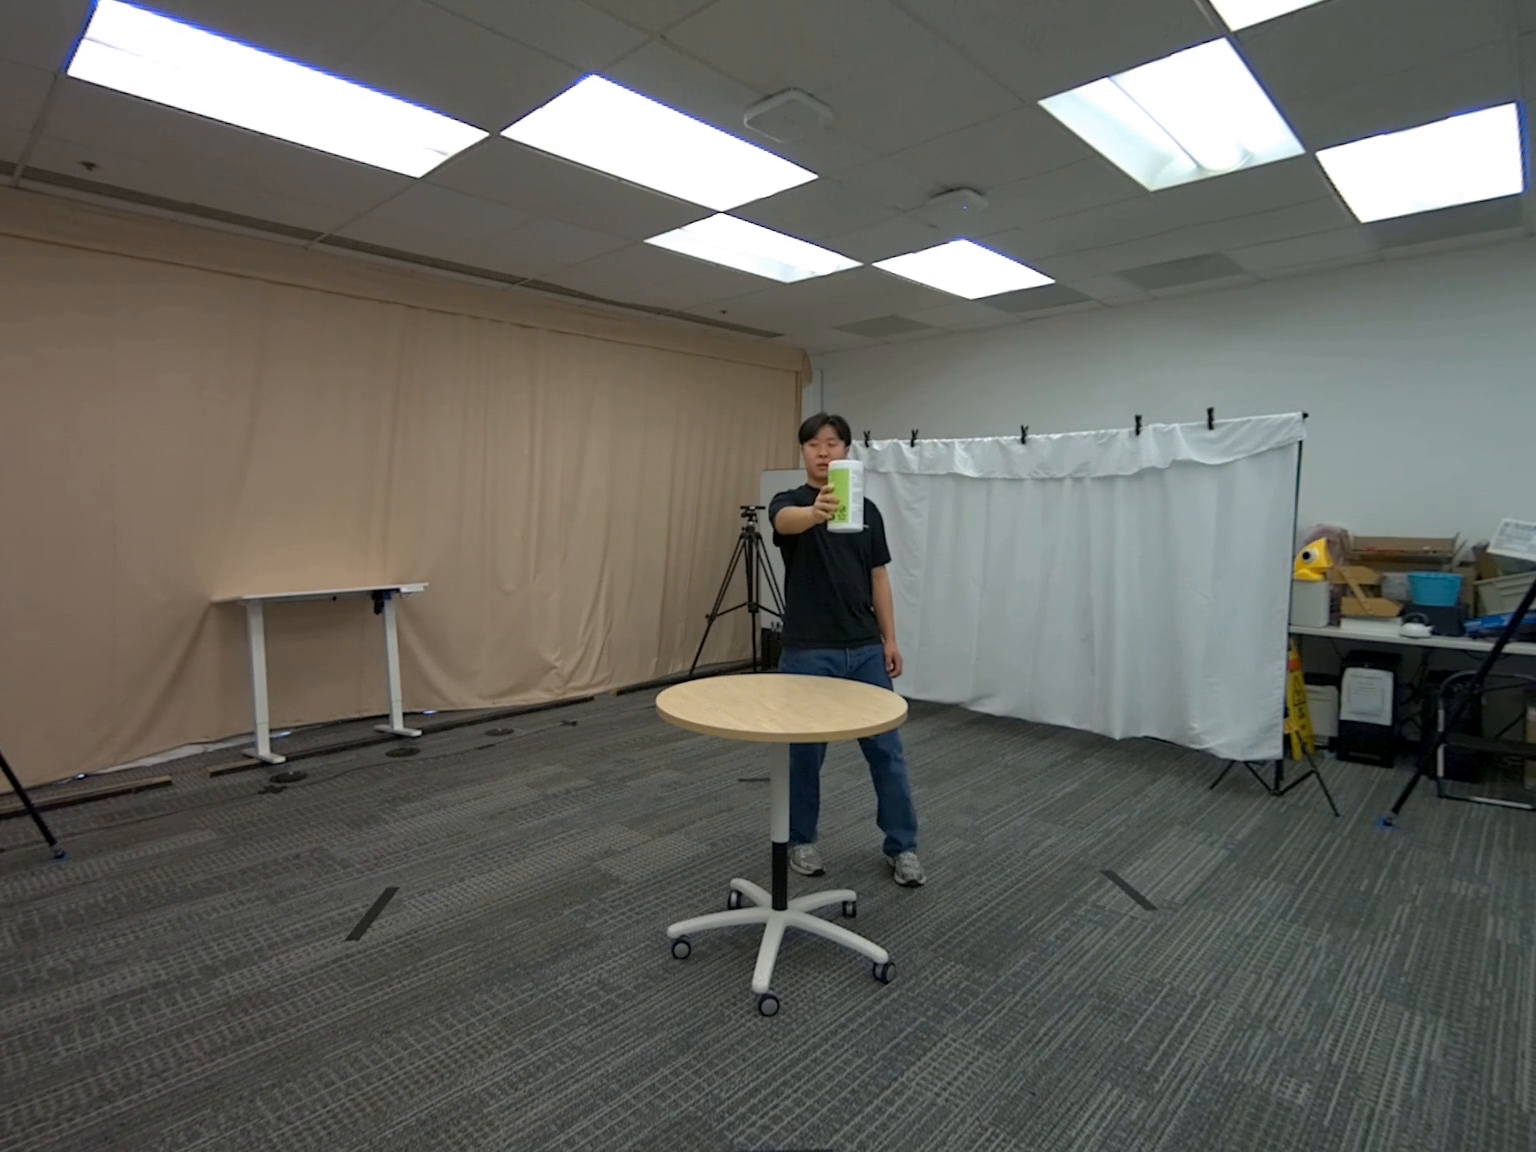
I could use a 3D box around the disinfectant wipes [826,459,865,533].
[{"bbox_3d":[0.242,-0.248,2.620,0.118,0.218,0.118,2,-2,-2],"label":"disinfectant wipes"}]
